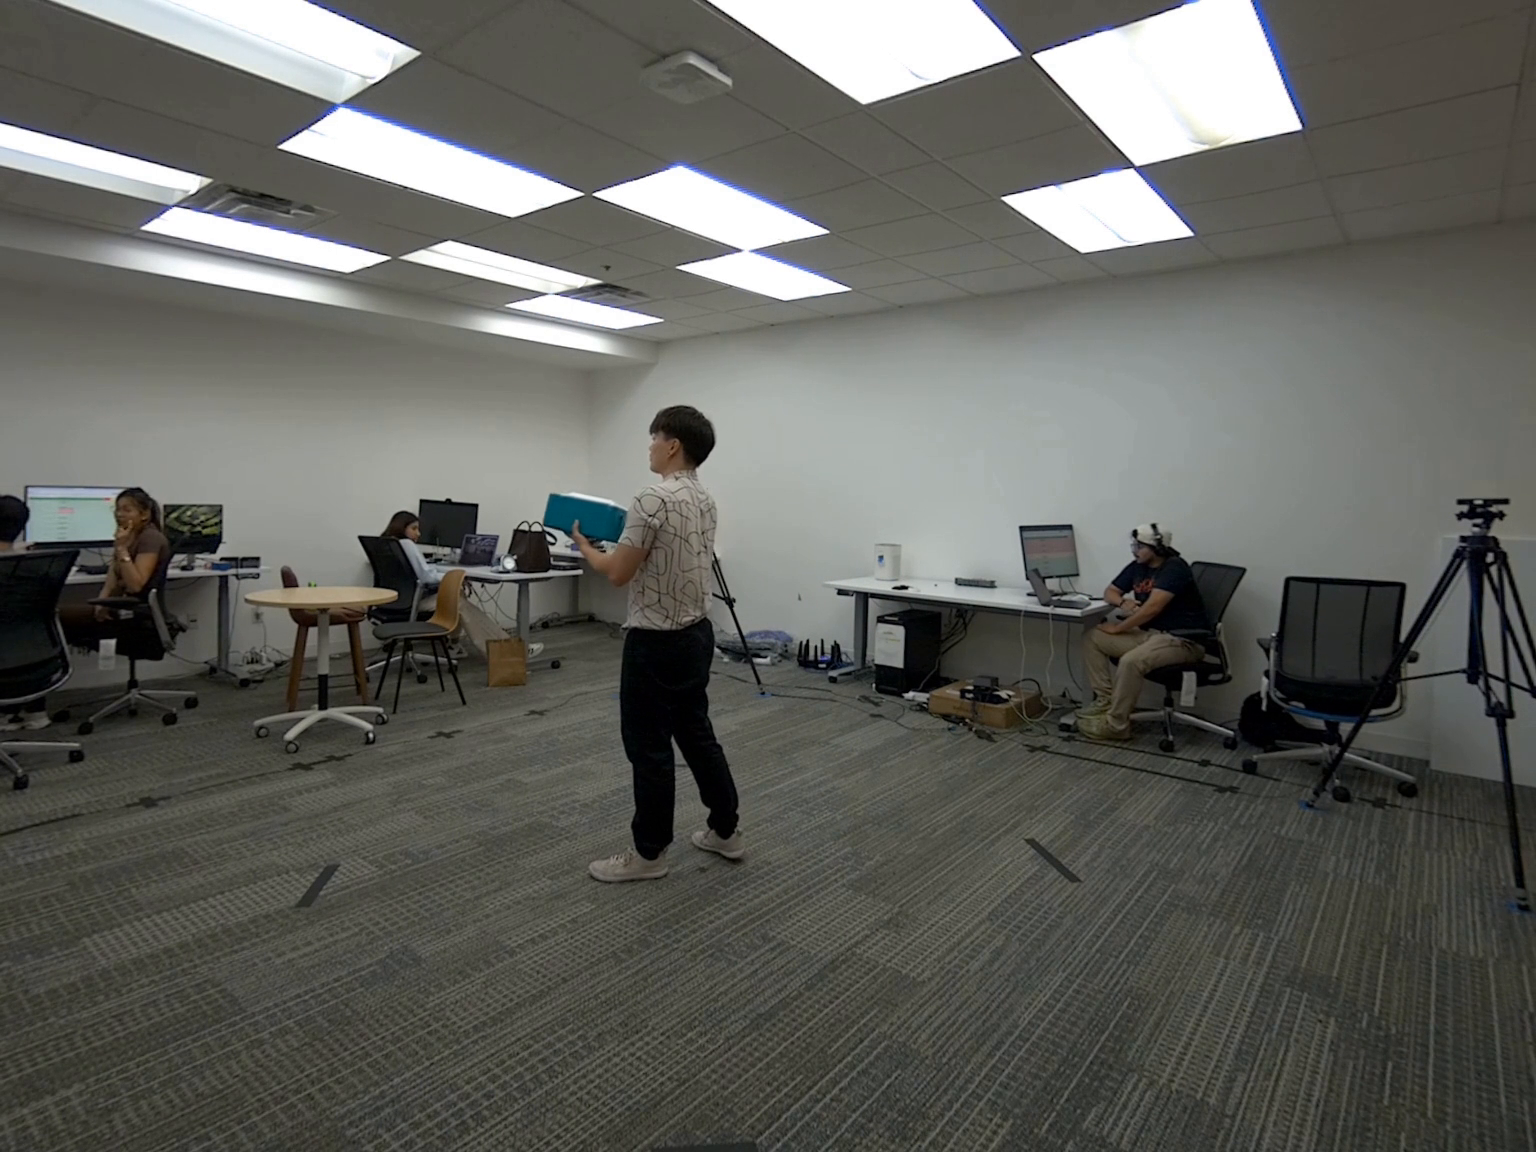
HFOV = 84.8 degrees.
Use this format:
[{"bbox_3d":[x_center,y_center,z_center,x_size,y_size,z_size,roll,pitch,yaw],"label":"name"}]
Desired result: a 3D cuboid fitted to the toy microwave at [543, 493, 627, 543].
[{"bbox_3d":[-0.679,-0.225,3.177,0.292,0.152,0.180,13,-1,15],"label":"toy microwave"}]
